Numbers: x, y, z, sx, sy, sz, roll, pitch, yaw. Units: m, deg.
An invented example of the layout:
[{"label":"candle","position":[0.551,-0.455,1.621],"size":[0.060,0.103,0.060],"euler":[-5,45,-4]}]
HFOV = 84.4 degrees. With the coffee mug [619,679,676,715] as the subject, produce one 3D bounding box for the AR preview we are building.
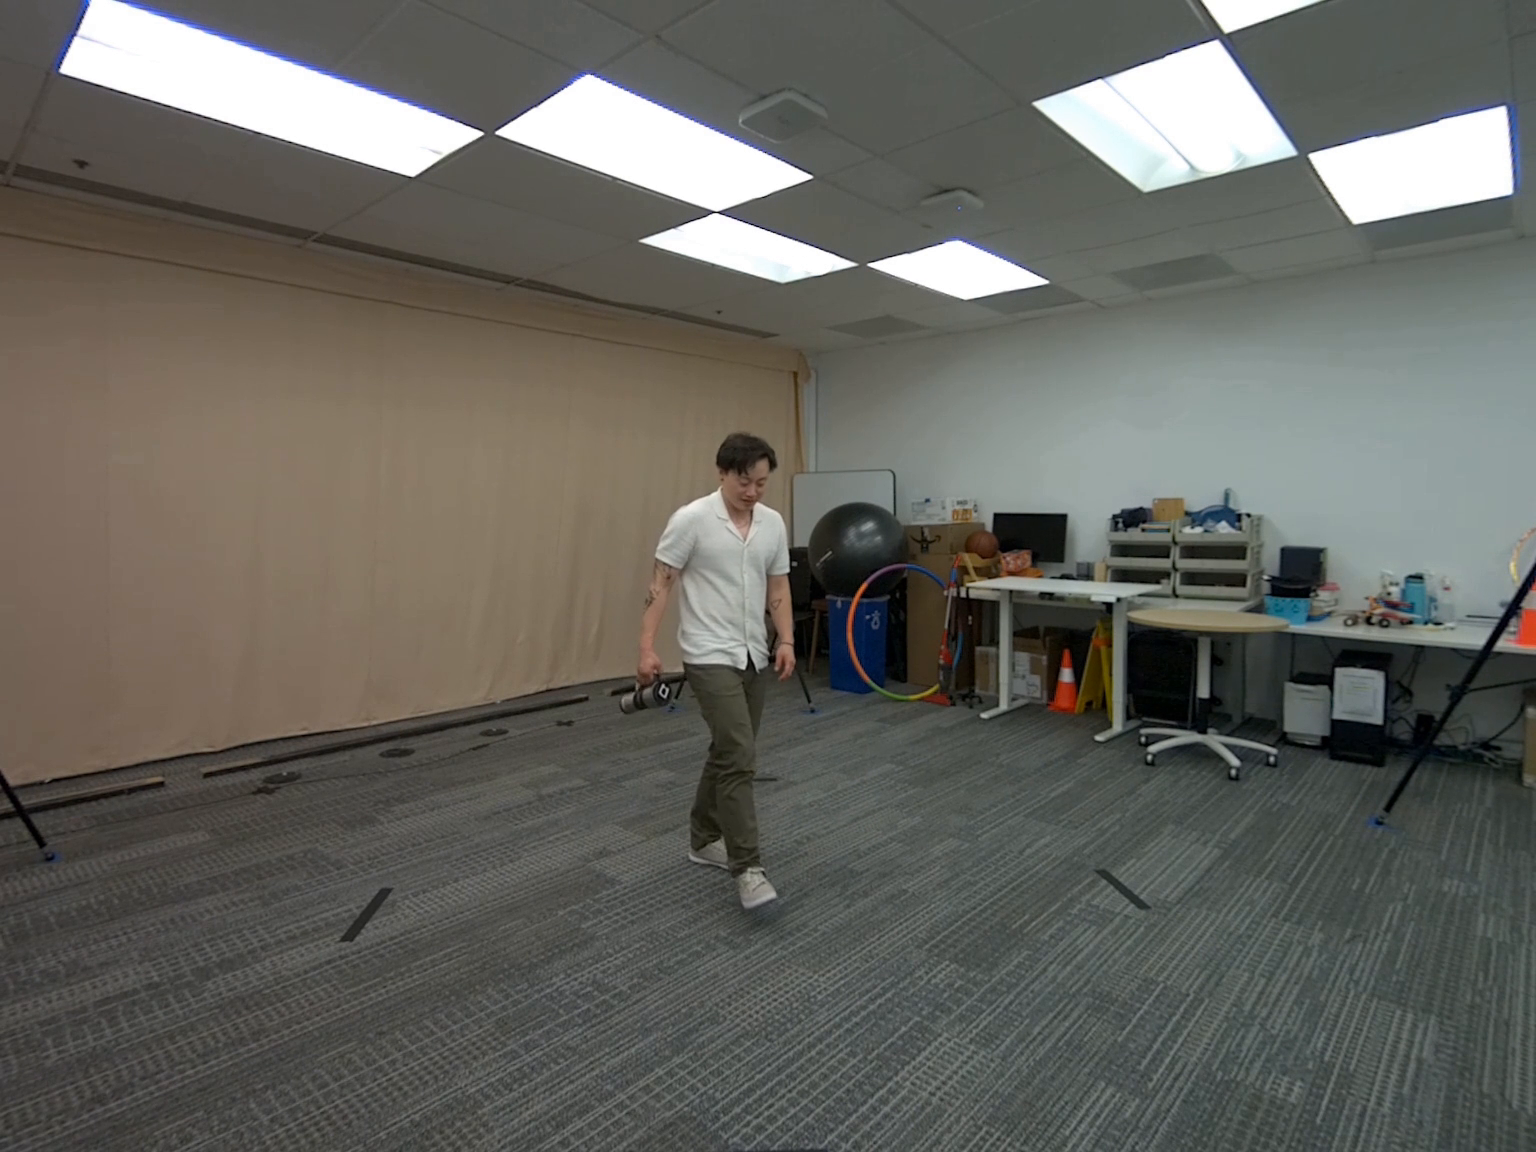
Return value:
[{"label":"coffee mug","position":[-0.439,0.437,3.057],"size":[0.208,0.123,0.085],"euler":[-19,-40,40]}]
